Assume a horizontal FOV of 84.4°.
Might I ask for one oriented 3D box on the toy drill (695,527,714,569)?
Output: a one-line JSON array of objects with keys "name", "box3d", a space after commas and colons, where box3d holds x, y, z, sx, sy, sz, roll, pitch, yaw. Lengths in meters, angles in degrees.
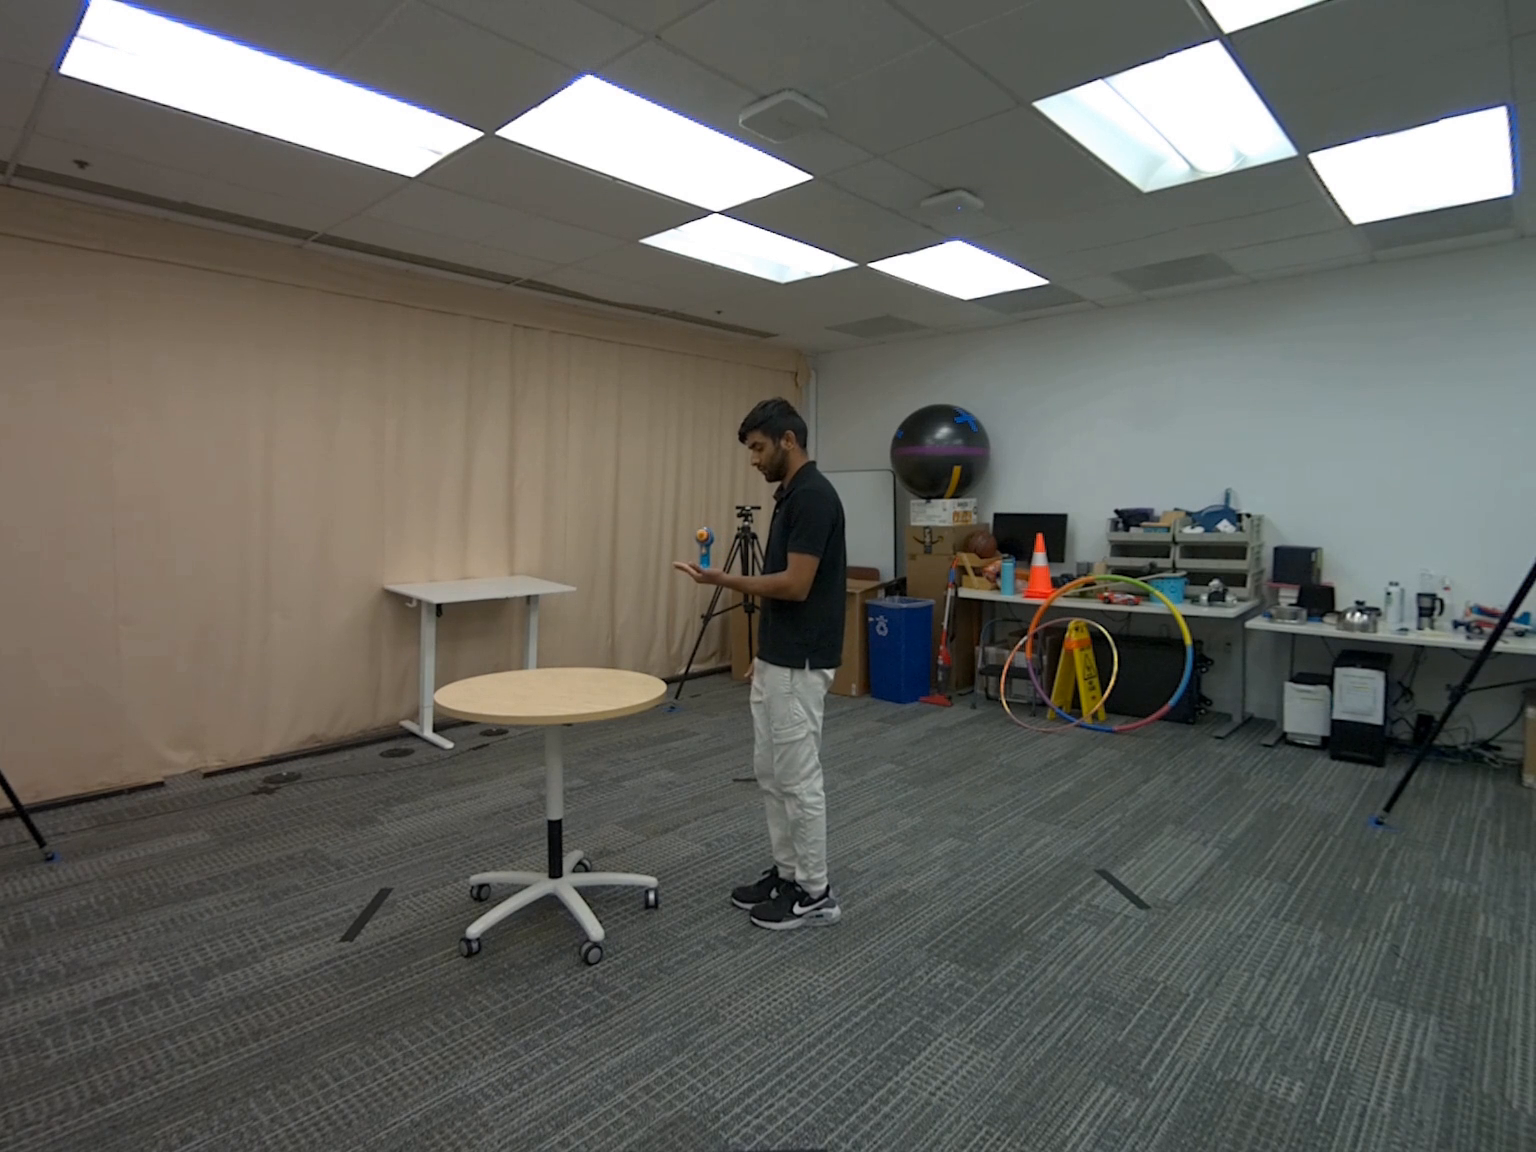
[{"name": "toy drill", "box3d": [-0.209, -0.087, 2.734, 0.061, 0.147, 0.168, 1, -7, 2]}]
